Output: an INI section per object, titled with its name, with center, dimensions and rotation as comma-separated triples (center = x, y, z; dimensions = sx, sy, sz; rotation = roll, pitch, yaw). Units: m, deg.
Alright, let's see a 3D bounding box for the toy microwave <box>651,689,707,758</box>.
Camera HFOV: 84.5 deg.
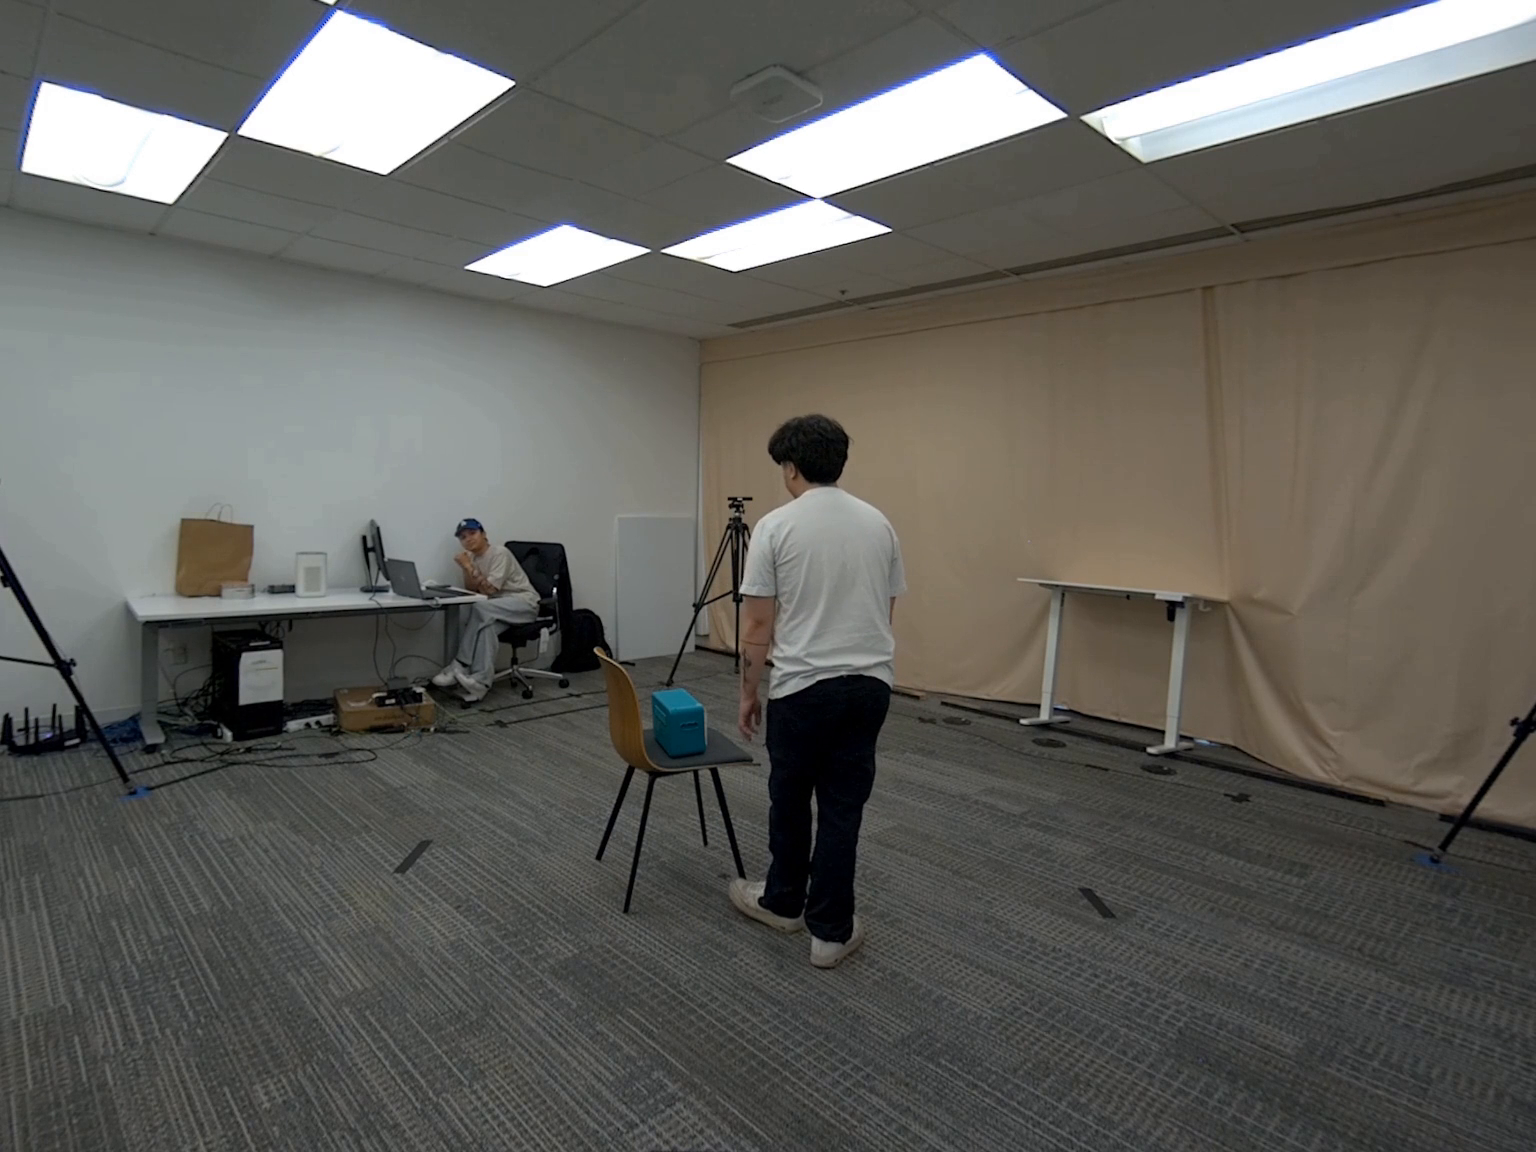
[toy microwave]
center = -0.329, 0.534, 3.069
dimensions = 0.150, 0.183, 0.291
rotation = -4, 6, -20
